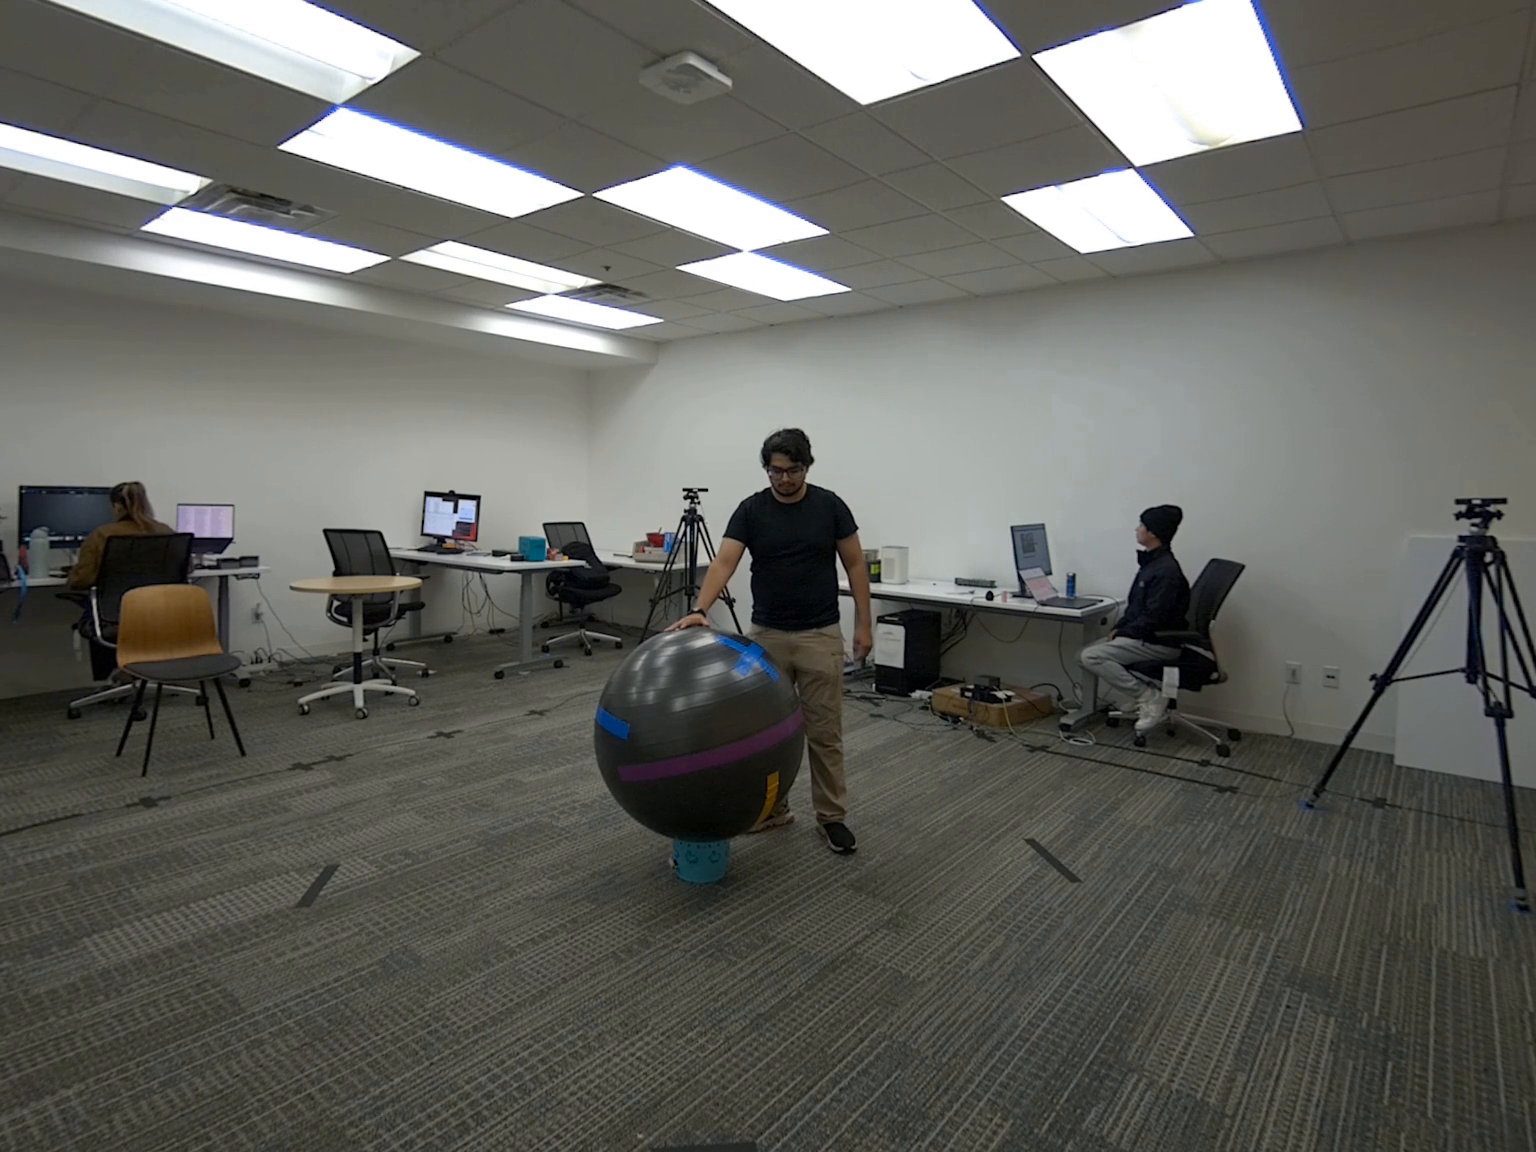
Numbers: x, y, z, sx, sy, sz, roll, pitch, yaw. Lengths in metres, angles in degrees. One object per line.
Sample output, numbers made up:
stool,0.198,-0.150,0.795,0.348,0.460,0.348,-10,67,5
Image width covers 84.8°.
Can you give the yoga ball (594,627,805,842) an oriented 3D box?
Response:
yoga ball,-0.262,0.566,3.069,0.757,0.756,0.762,1,4,-2
